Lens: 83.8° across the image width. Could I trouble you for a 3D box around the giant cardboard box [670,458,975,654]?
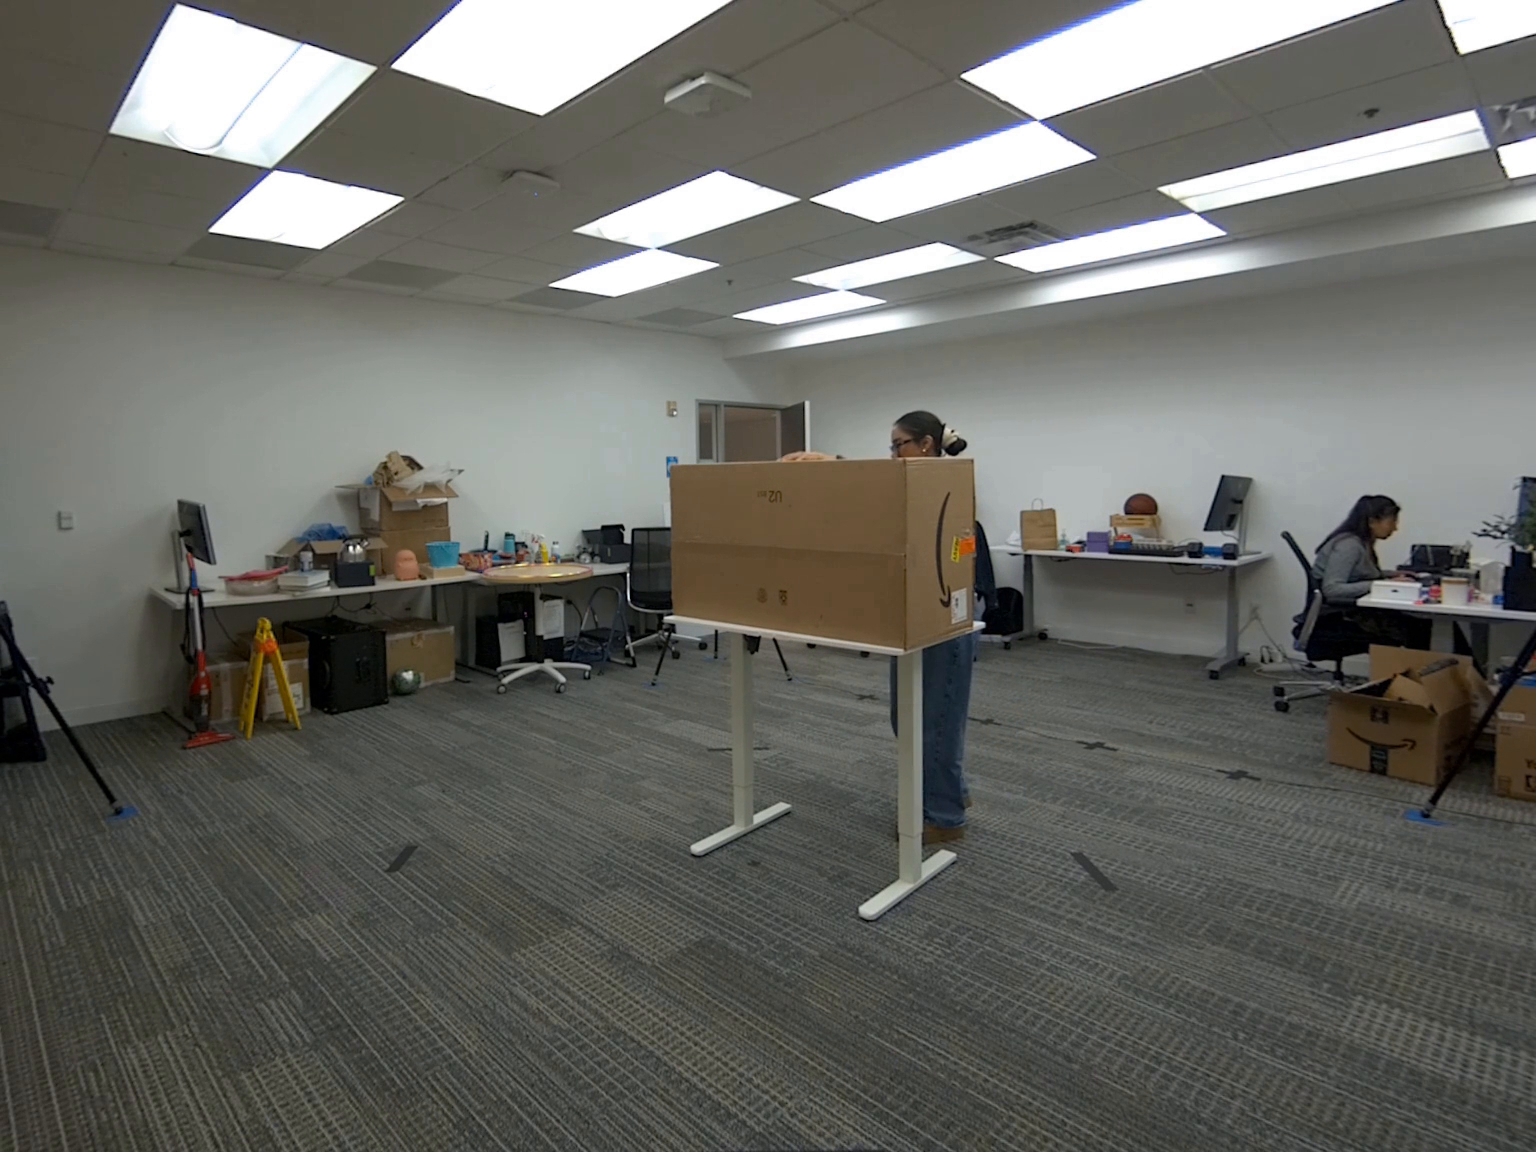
[{"bbox_3d":[0.158,-0.115,3.028,1.058,0.574,0.415,5,8,43],"label":"giant cardboard box"}]
